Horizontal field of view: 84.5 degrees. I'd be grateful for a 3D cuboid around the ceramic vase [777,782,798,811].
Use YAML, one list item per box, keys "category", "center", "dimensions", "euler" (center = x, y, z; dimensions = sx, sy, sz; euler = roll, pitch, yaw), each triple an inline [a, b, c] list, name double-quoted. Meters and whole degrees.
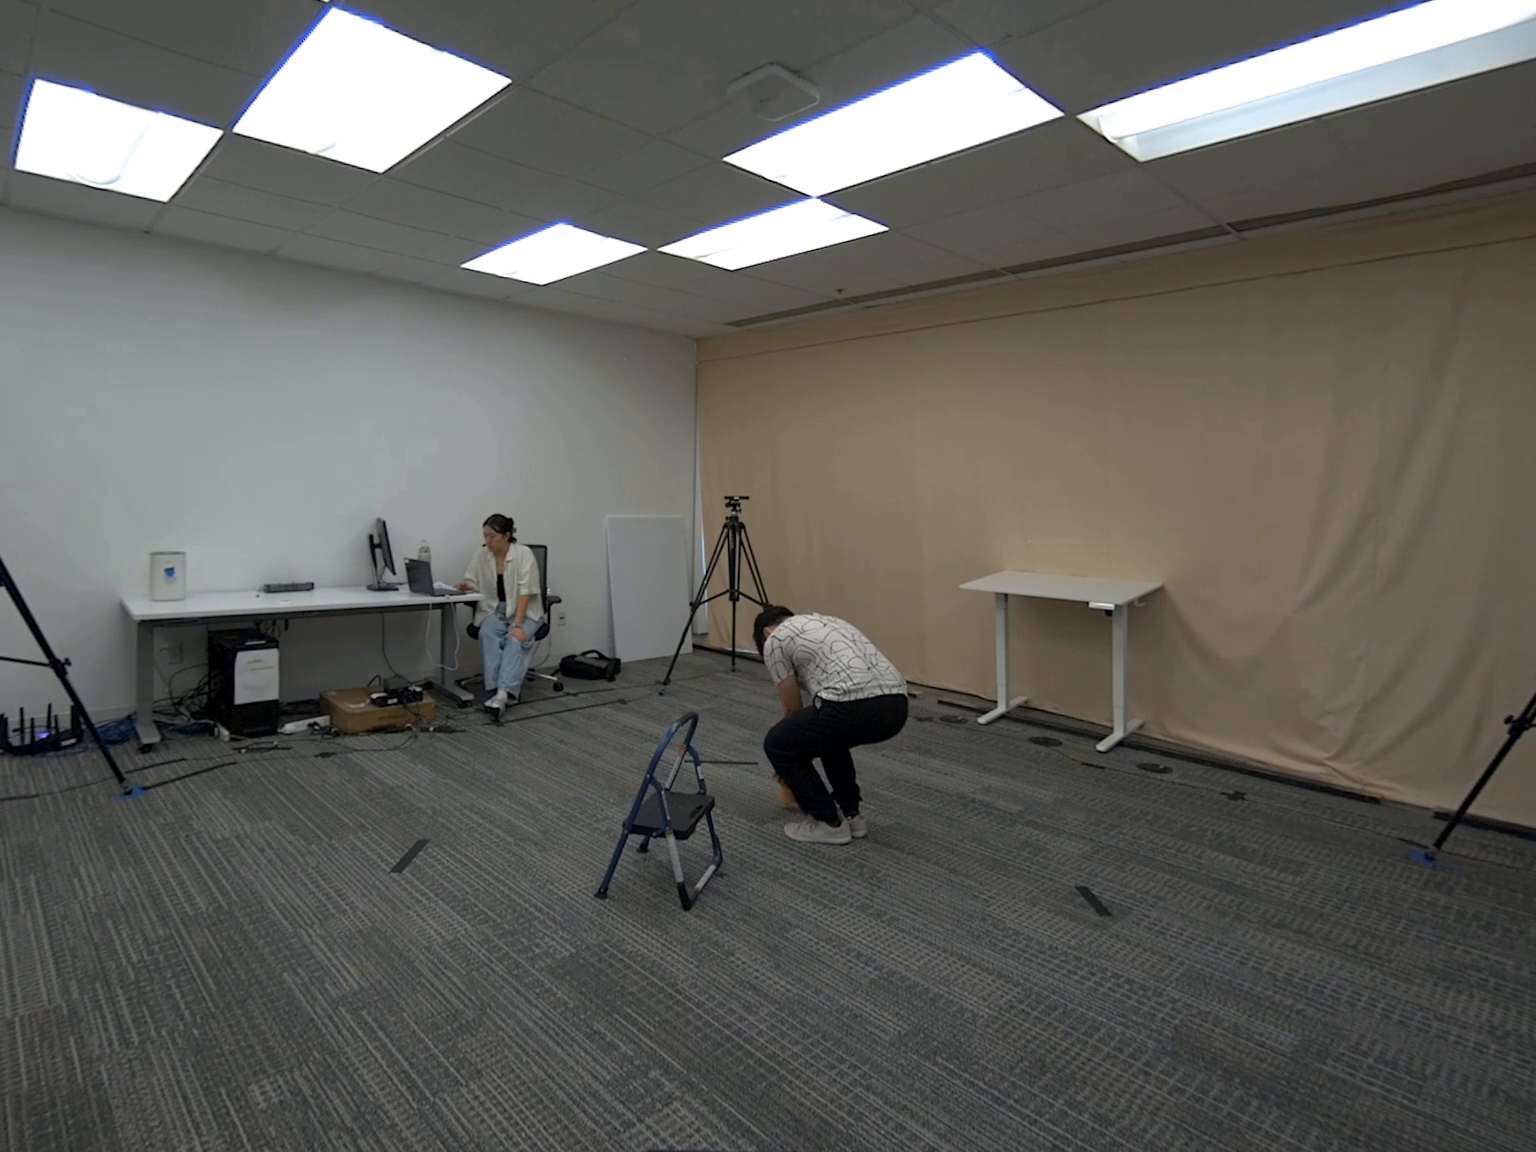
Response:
- category: "ceramic vase"
  center: [0.091, 0.892, 3.788]
  dimensions: [0.132, 0.220, 0.162]
  euler: [1, 1, -27]
